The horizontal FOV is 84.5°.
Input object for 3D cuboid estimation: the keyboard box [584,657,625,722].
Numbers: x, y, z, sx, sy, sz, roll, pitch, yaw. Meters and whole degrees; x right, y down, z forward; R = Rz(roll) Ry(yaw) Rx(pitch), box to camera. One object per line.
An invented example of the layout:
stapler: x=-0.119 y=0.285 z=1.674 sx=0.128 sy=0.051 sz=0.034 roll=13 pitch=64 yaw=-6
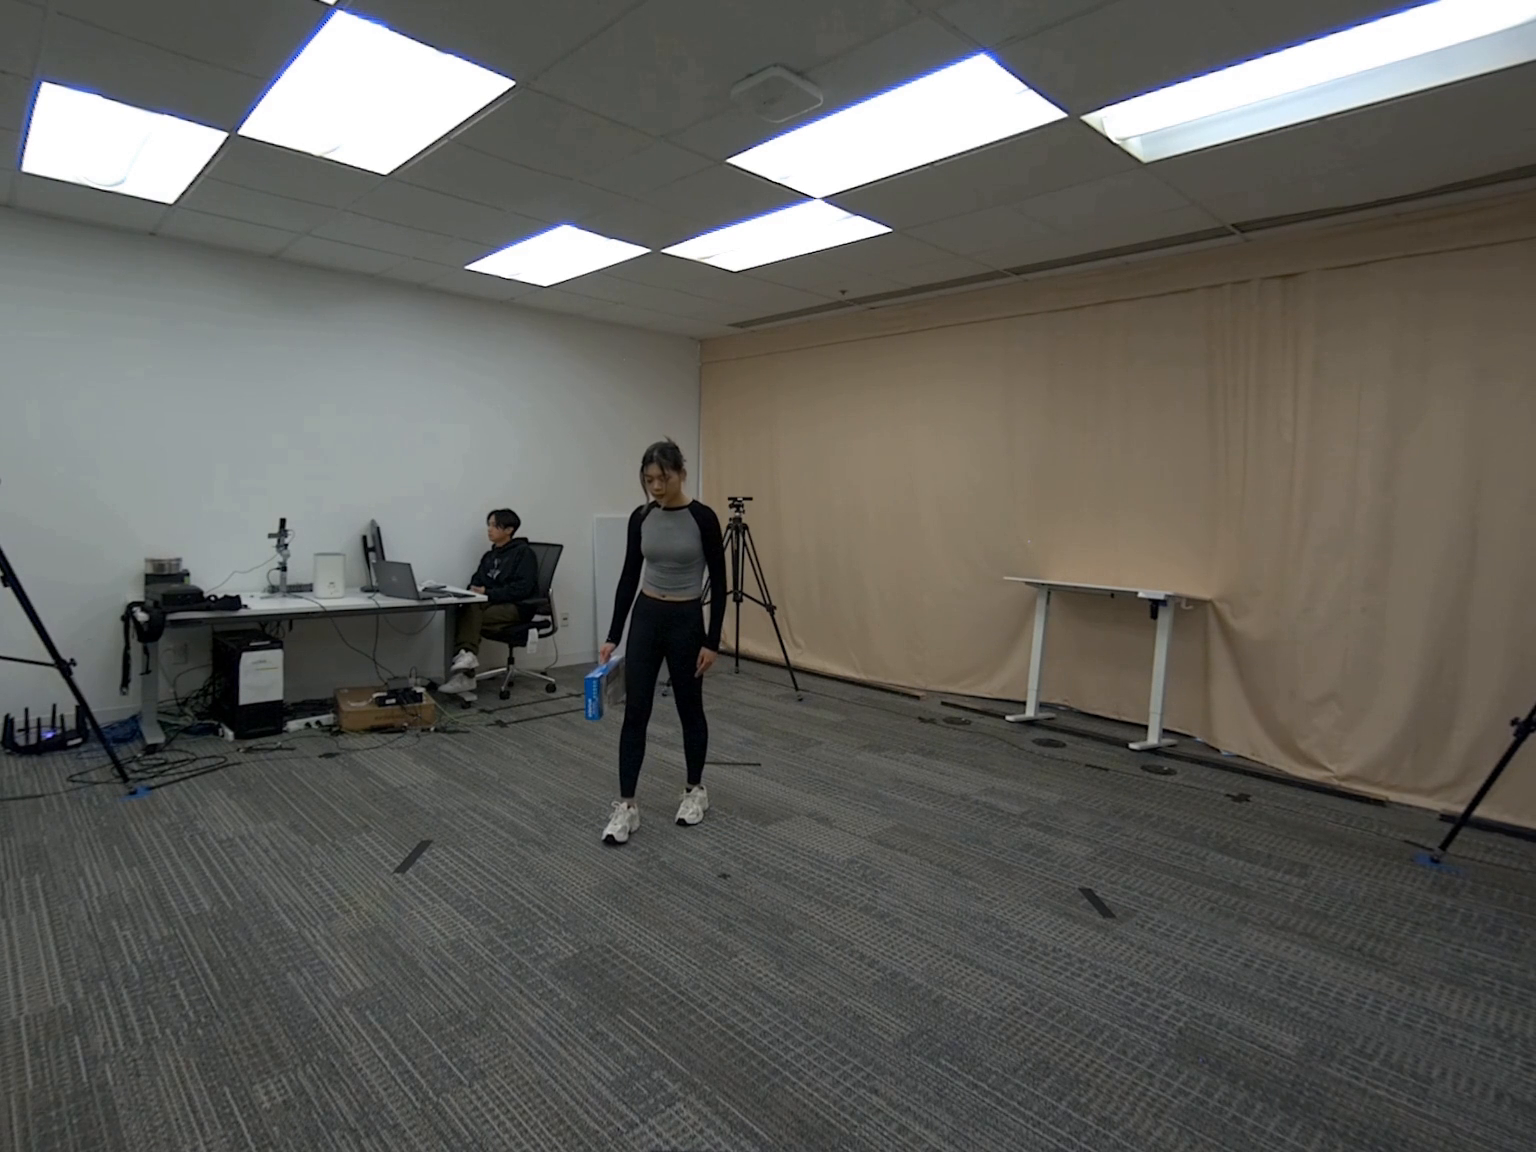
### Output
keyboard box: x=-0.686 y=0.458 z=3.539 sx=0.059 sy=0.175 sz=0.437 roll=0 pitch=6 yaw=2
